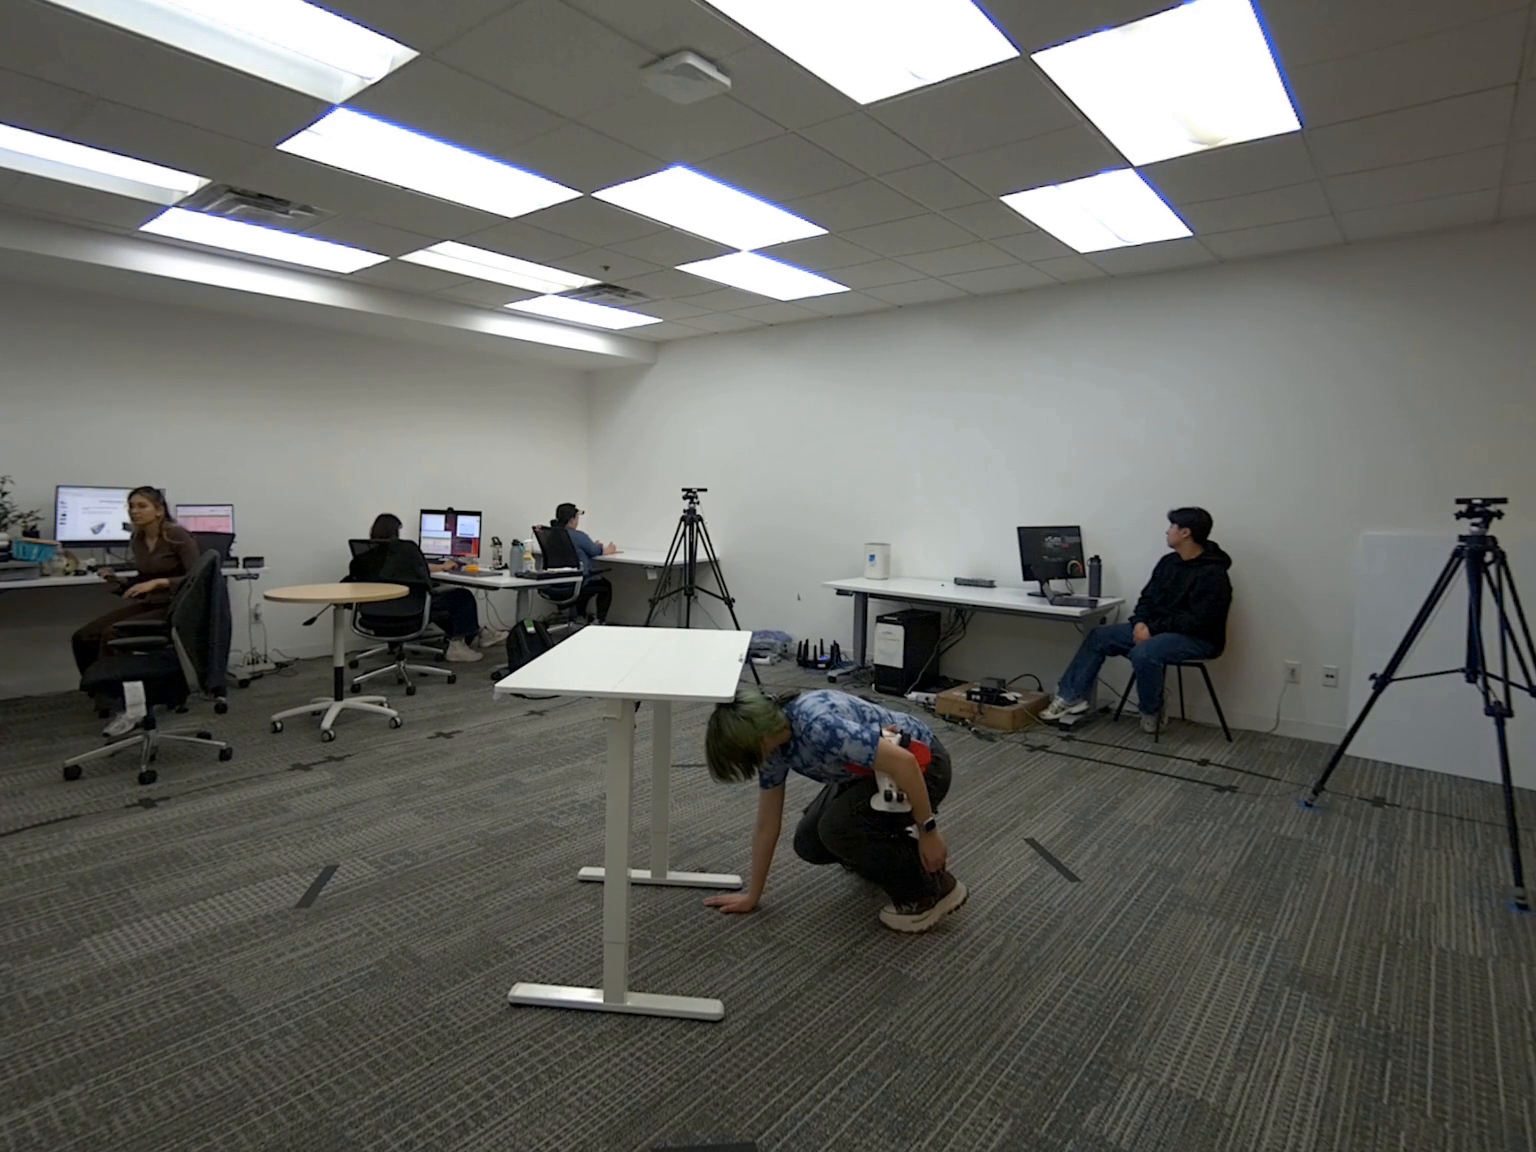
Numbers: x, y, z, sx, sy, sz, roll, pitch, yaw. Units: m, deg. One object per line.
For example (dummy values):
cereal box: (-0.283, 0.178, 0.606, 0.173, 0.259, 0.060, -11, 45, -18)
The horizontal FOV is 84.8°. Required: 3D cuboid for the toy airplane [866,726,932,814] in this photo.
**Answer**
toy airplane: (0.346, 0.581, 2.602, 0.254, 0.260, 0.154, 30, -23, 8)
